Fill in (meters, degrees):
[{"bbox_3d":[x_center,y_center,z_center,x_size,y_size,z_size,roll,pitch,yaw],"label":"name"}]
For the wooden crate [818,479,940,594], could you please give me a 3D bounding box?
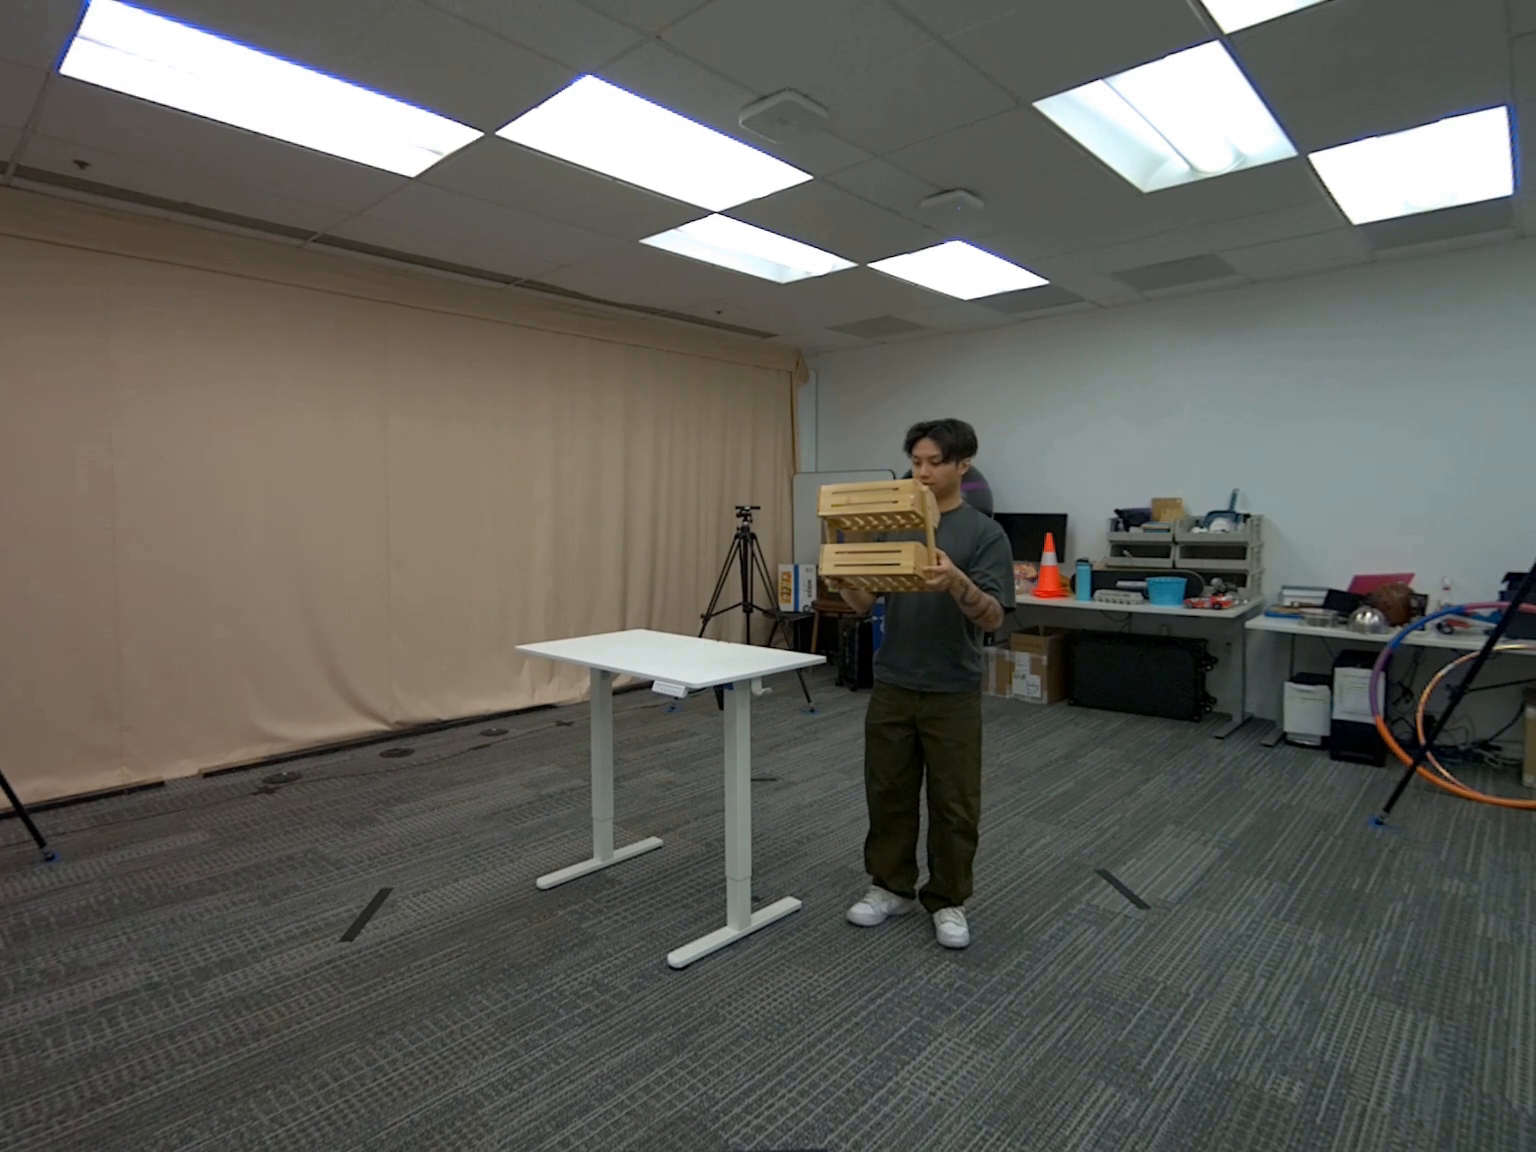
[{"bbox_3d":[0.346,-0.114,2.506,0.334,0.275,0.291,-2,-15,32],"label":"wooden crate"}]
